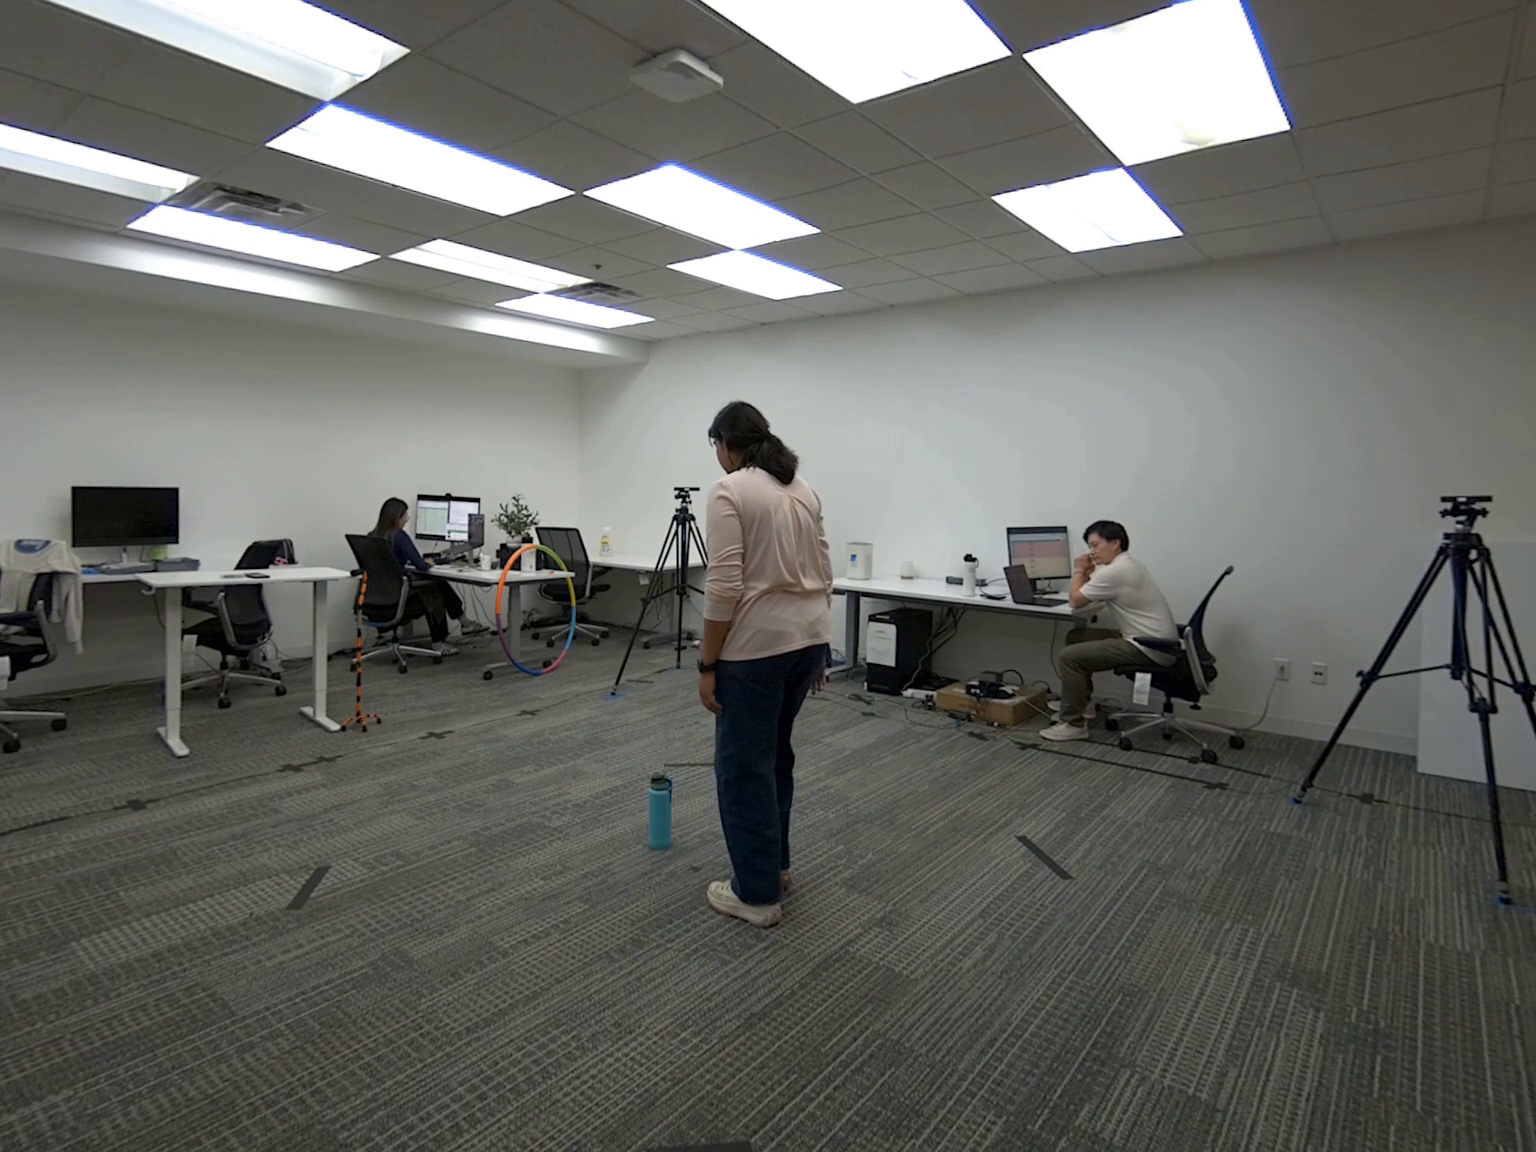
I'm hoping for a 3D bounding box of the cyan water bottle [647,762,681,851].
[{"bbox_3d":[-0.429,0.902,3.305,0.092,0.282,0.093,2,3,-2],"label":"cyan water bottle"}]
